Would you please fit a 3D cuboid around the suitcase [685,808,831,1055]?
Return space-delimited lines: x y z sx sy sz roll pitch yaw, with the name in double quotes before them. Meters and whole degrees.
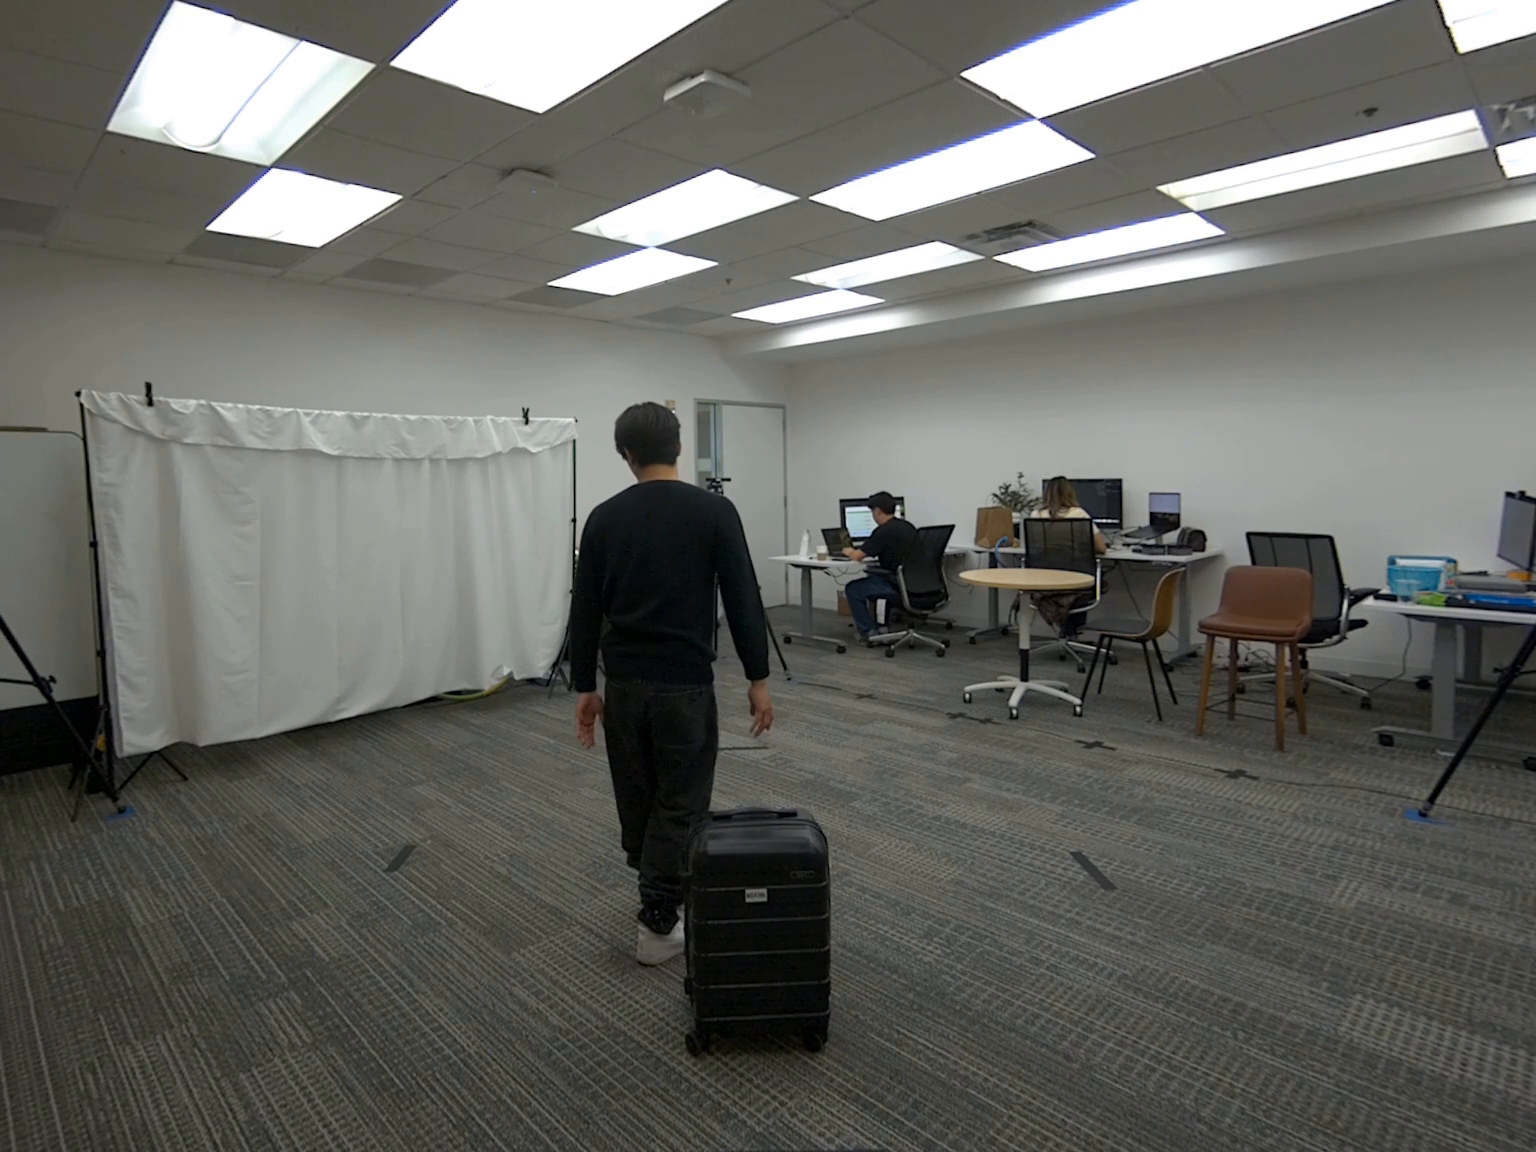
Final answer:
"suitcase" -0.016 0.877 2.167 0.374 0.546 0.250 -1 6 -3
